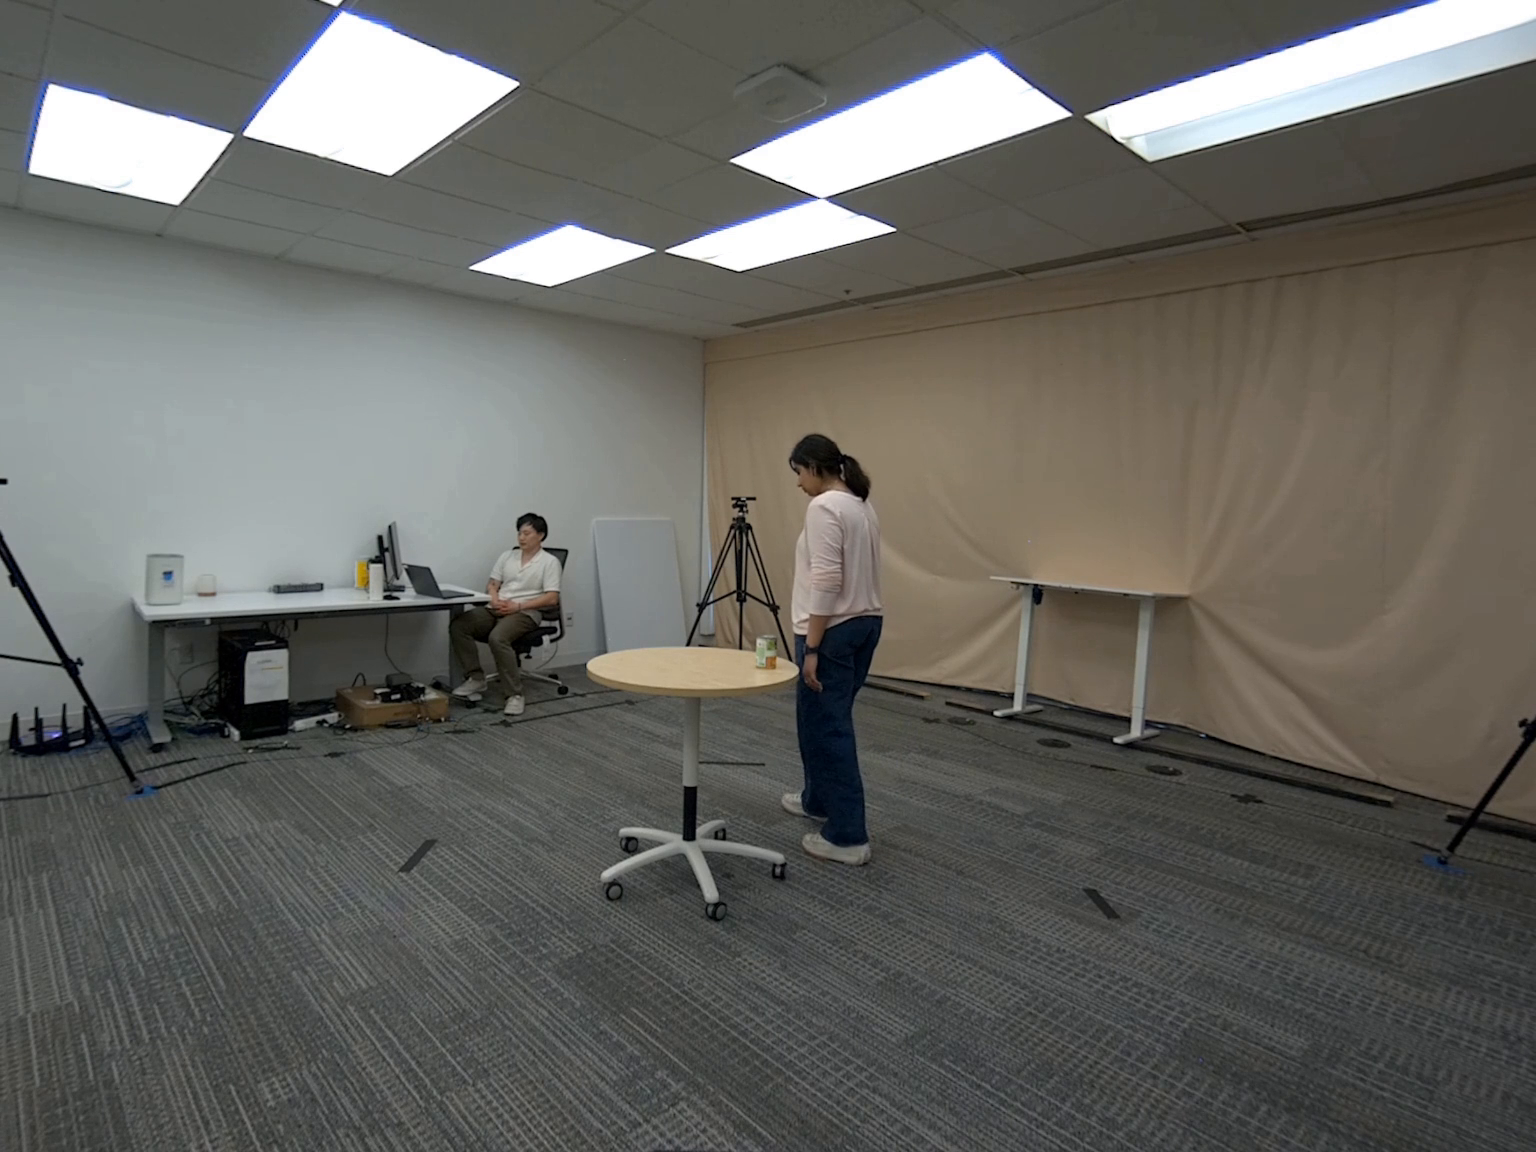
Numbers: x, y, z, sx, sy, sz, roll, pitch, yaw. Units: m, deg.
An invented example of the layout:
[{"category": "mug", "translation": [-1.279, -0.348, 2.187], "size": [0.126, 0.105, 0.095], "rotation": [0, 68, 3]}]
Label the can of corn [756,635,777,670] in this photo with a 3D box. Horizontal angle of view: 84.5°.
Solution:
[{"category": "can of corn", "translation": [-0.011, 0.282, 3.048], "size": [0.074, 0.111, 0.074], "rotation": [3, 2, -1]}]
